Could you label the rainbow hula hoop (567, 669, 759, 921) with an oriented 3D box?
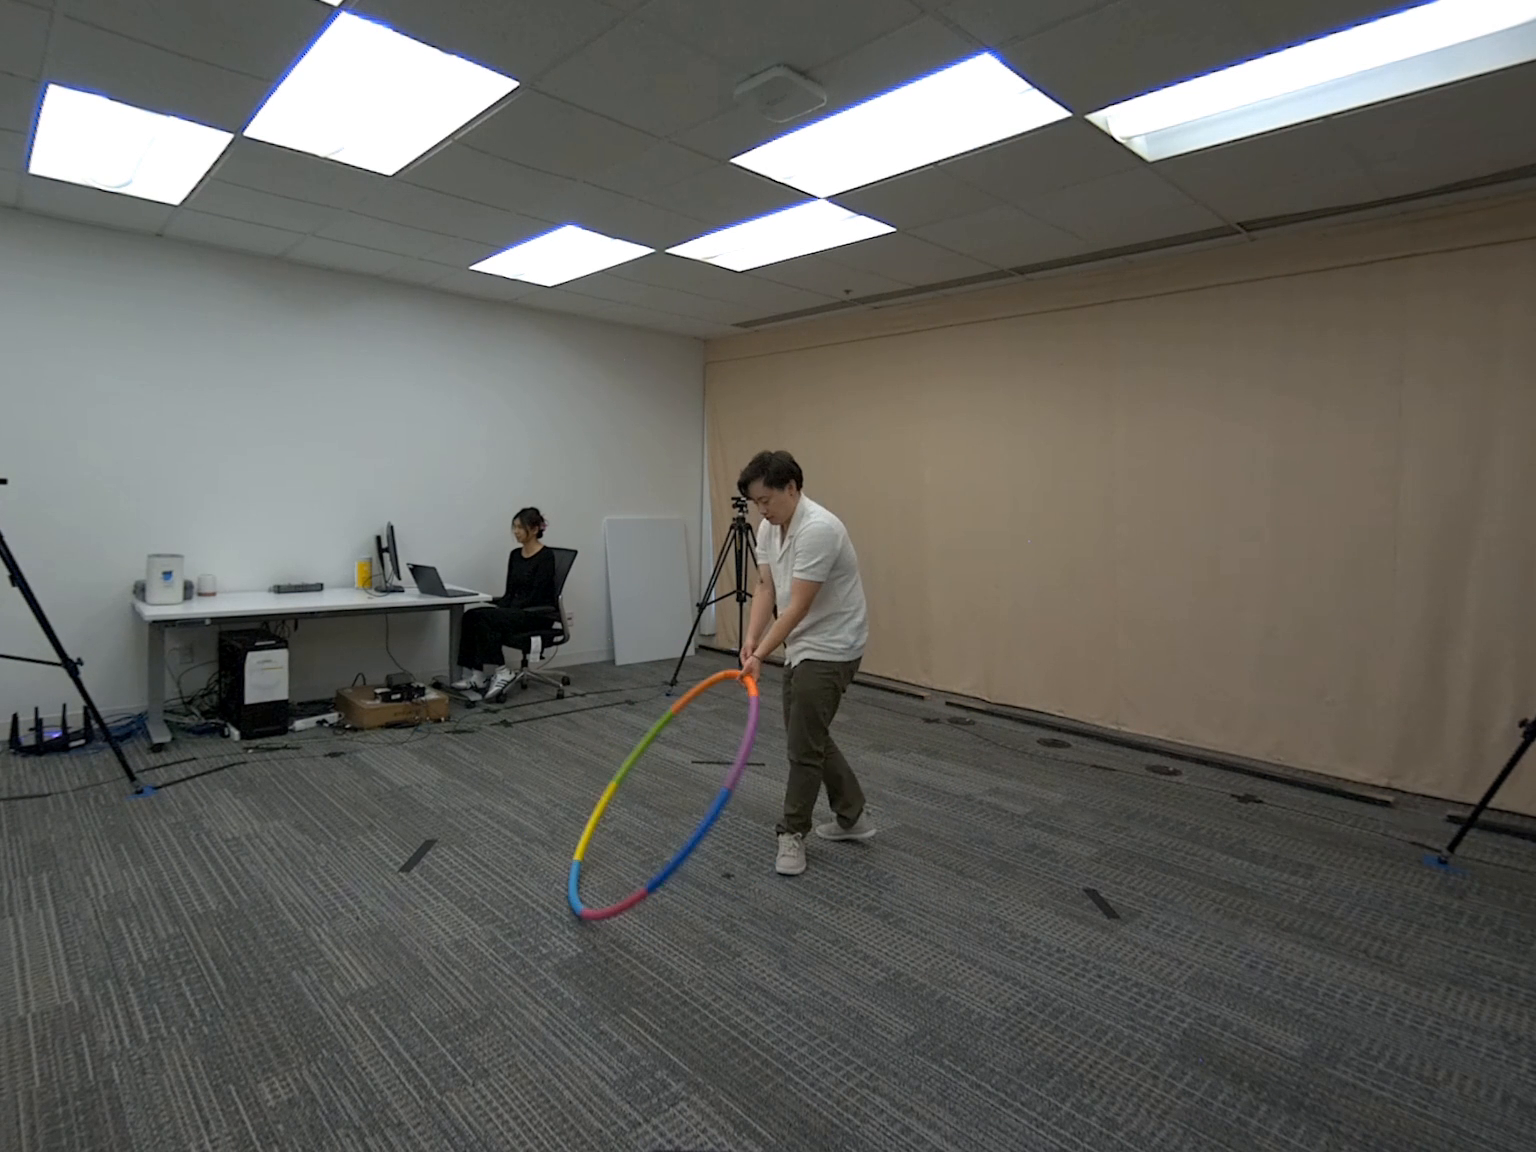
[{"bbox_3d":[-0.395,0.716,2.928,0.035,0.979,0.994,42,-8,-17],"label":"rainbow hula hoop"}]
